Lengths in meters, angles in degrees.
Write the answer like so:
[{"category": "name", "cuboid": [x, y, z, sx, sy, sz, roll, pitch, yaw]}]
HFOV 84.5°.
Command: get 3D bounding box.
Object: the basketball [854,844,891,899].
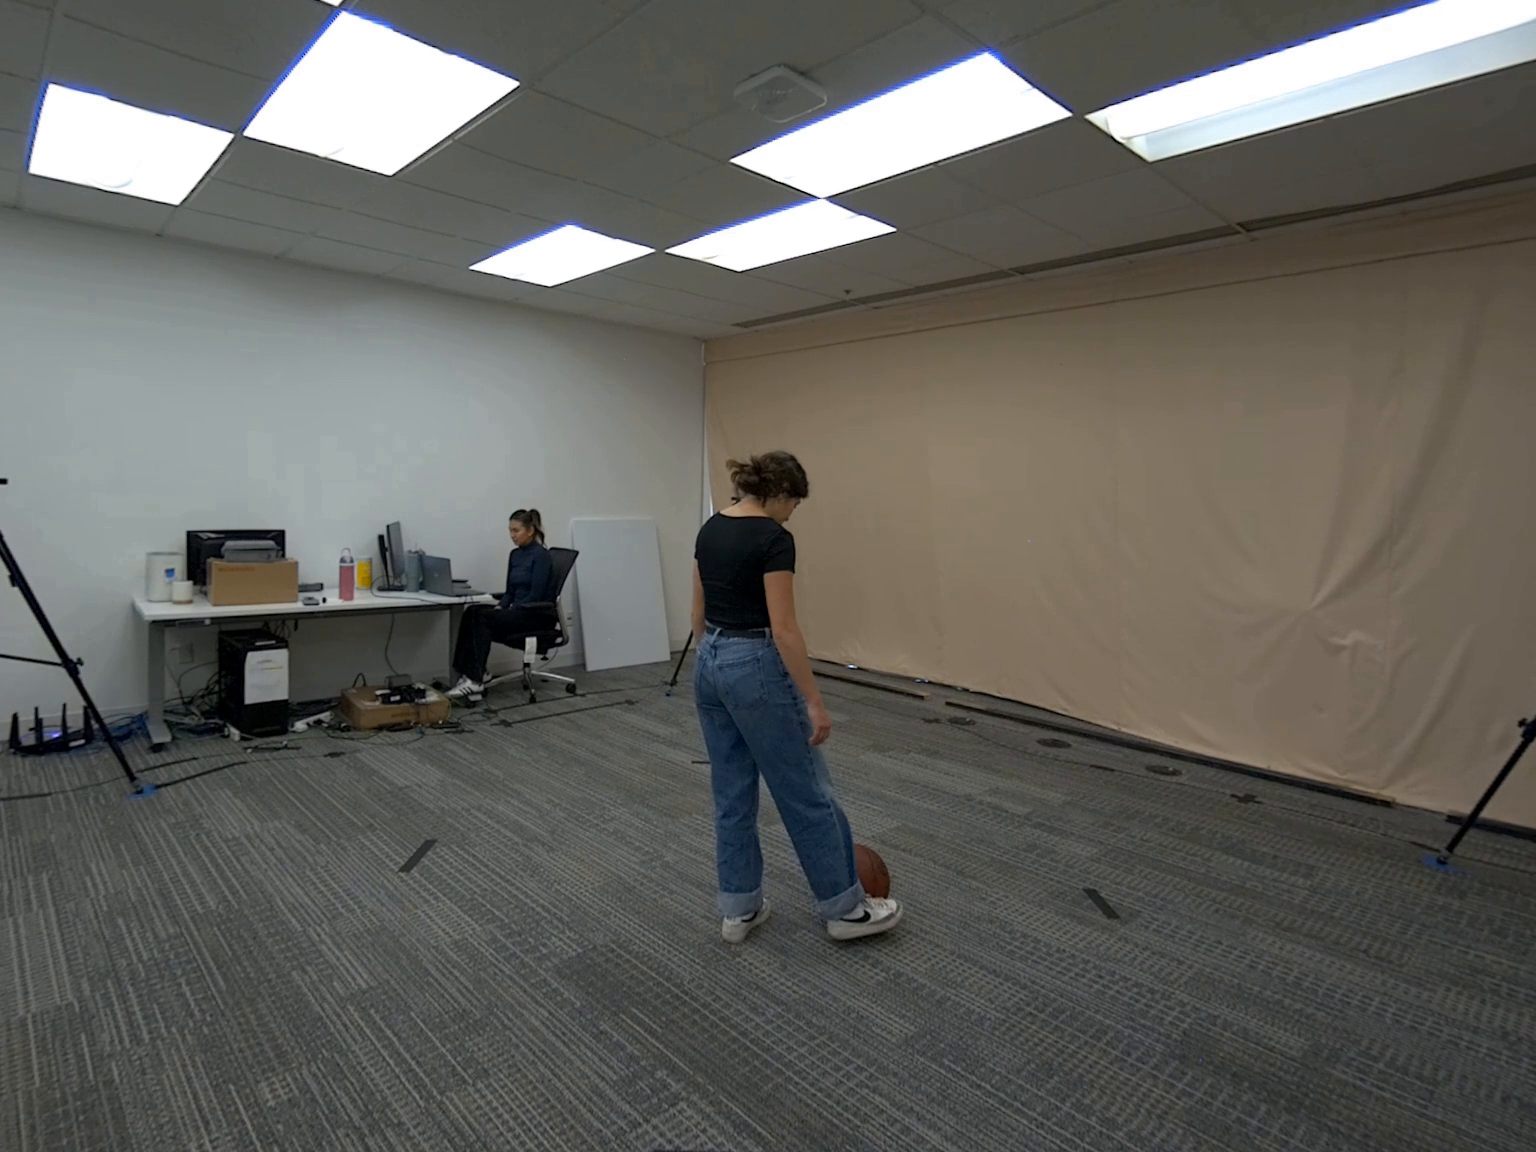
[{"category": "basketball", "cuboid": [0.280, 1.019, 2.827, 0.236, 0.235, 0.237, 1, 4, -1]}]
